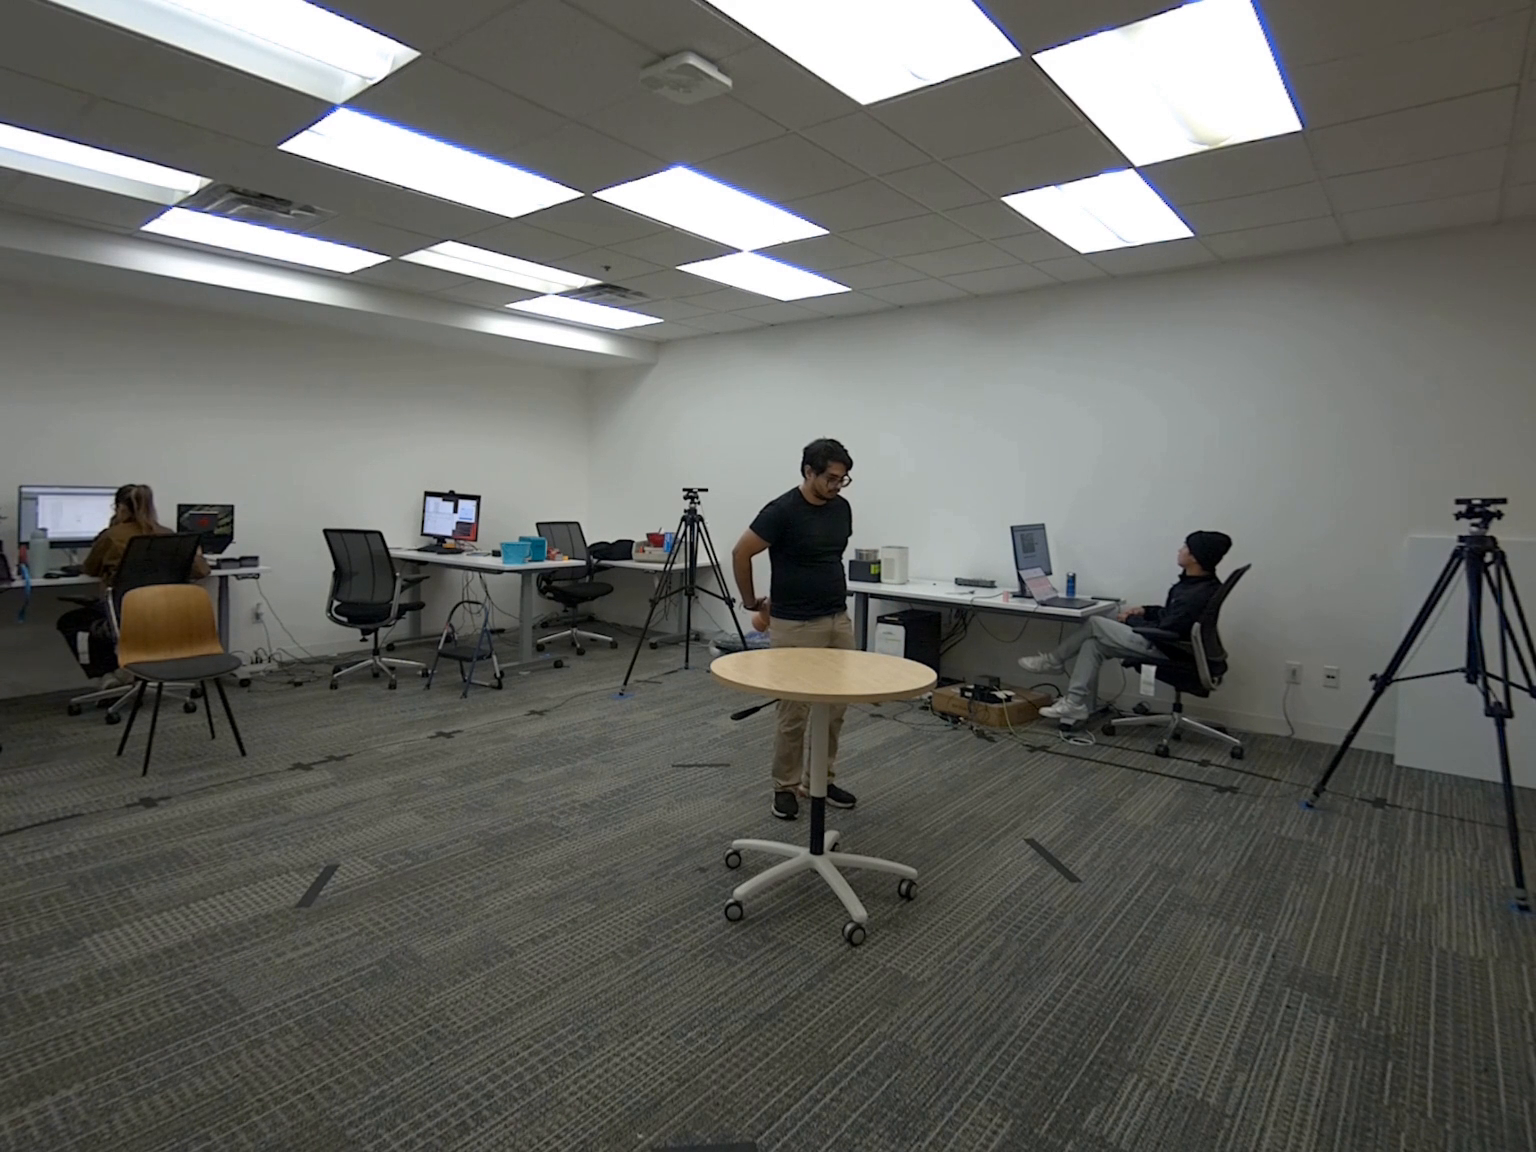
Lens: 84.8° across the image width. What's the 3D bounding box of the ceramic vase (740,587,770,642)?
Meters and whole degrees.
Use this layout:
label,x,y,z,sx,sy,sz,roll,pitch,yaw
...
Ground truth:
label,x,y,z,sx,sy,sz,roll,pitch,yaw
ceramic vase,0.005,0.169,4.004,0.134,0.160,0.219,-42,-5,-40
